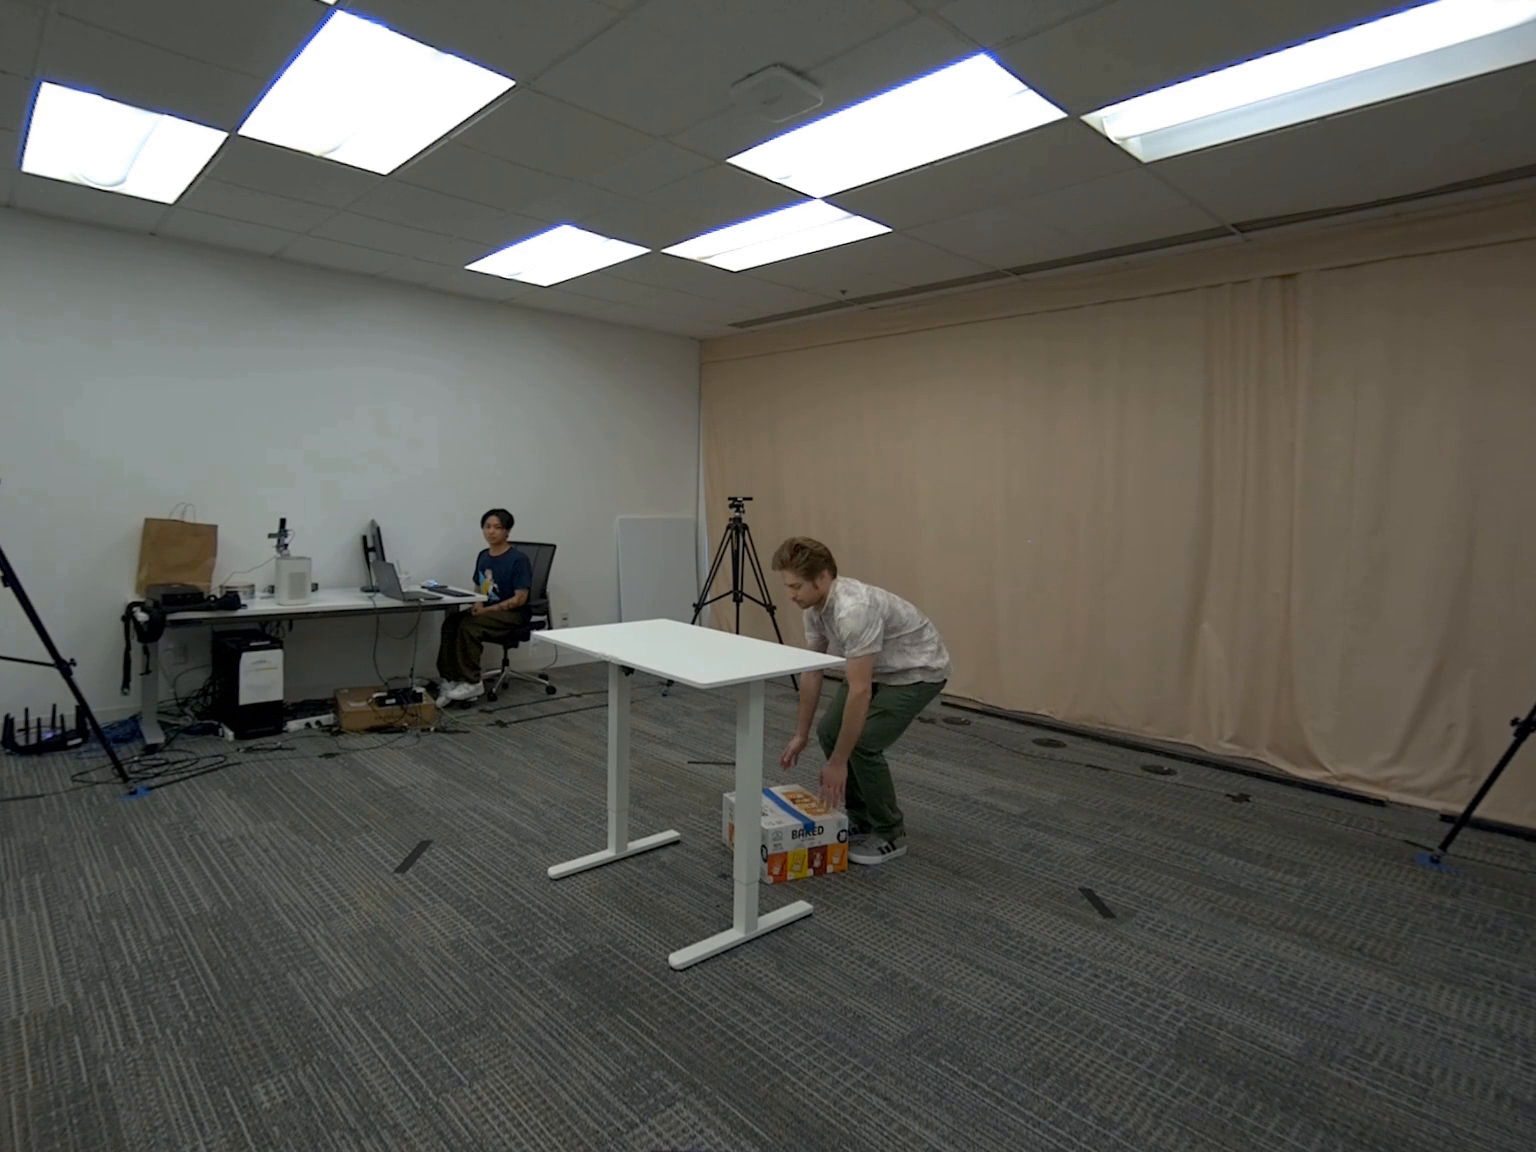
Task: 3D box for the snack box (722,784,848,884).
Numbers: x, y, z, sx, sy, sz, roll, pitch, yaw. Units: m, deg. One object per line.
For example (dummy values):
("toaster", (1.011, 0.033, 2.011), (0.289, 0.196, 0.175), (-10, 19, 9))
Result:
("snack box", (0.050, 0.995, 3.286), (0.334, 0.205, 0.413), (0, 5, -26))
